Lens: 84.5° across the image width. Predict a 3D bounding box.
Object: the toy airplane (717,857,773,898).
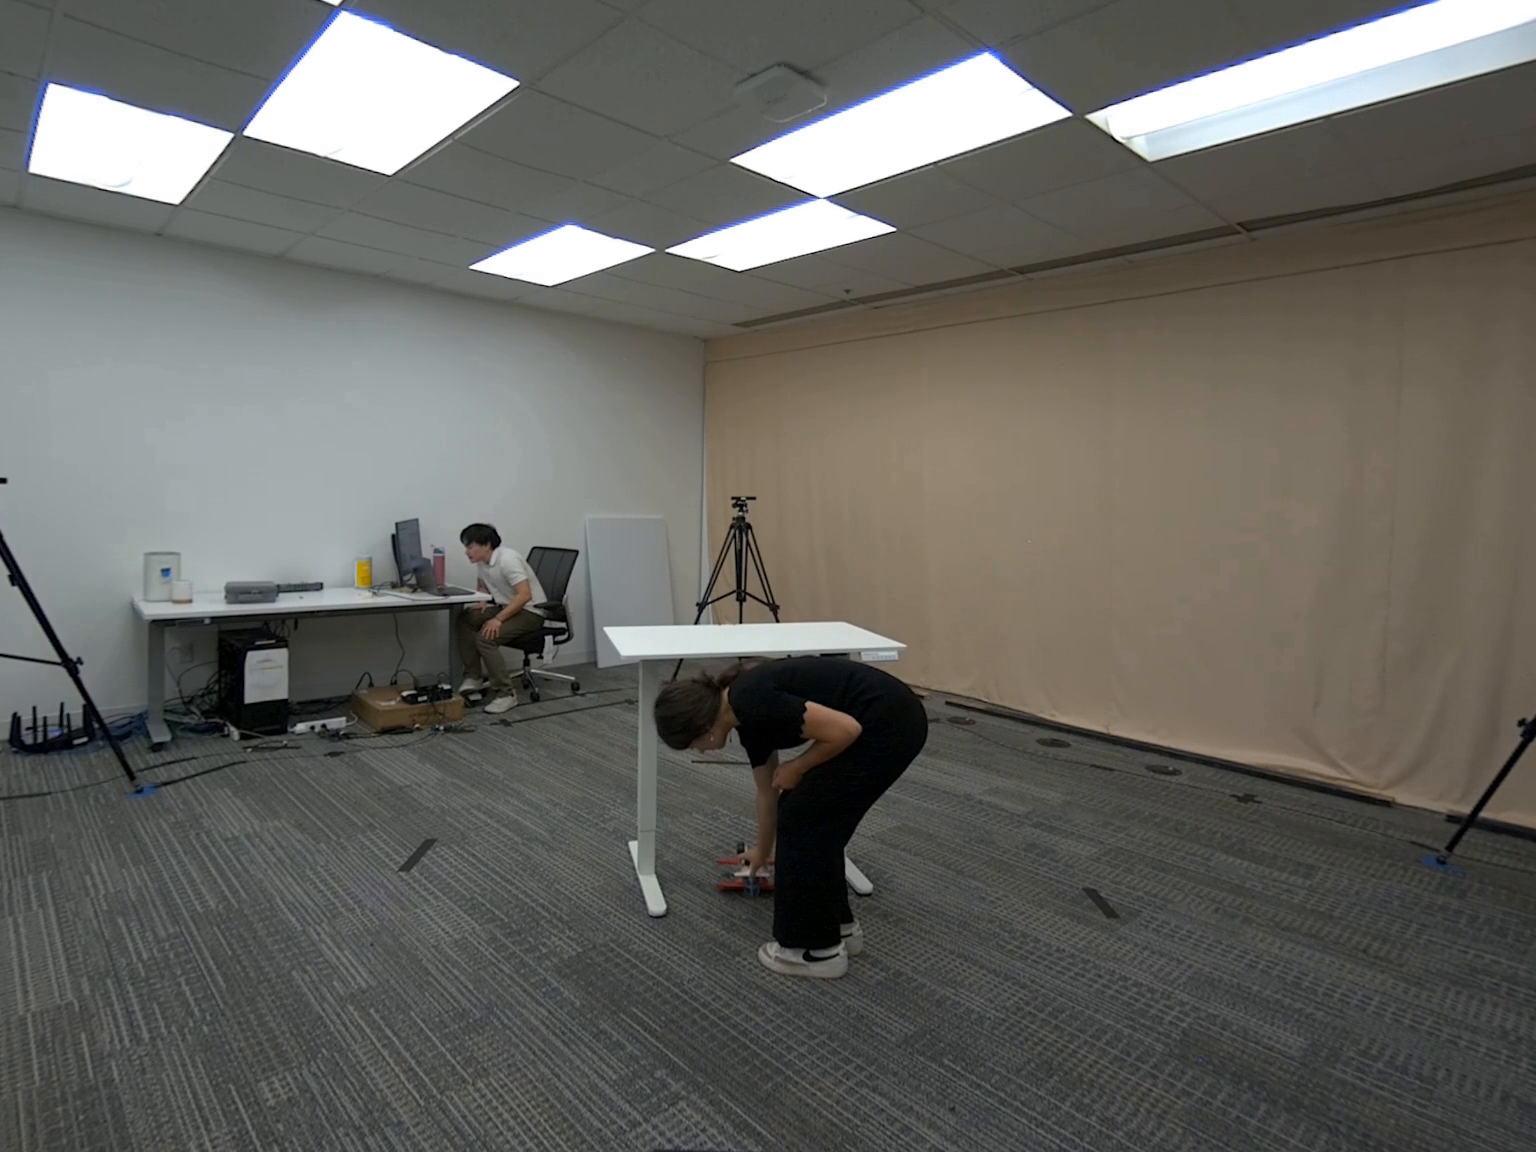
[{"bbox_3d":[-0.083,1.036,2.953,0.256,0.157,0.253,-1,-3,27],"label":"toy airplane"}]
